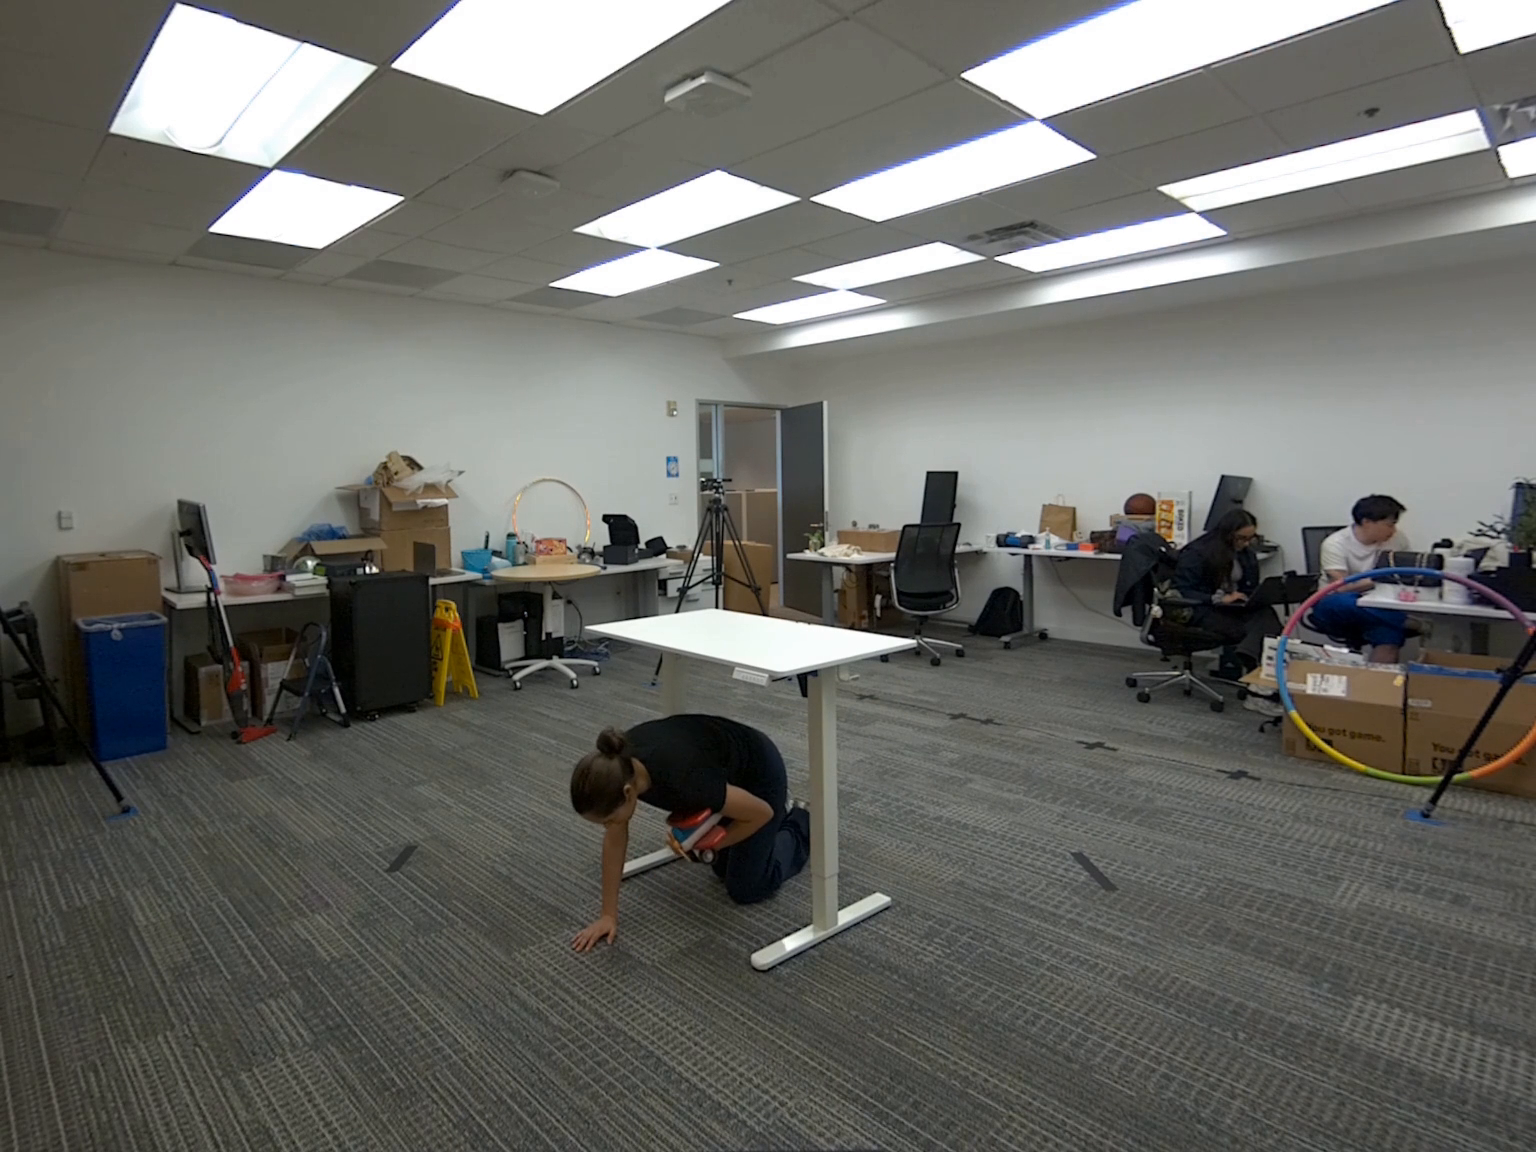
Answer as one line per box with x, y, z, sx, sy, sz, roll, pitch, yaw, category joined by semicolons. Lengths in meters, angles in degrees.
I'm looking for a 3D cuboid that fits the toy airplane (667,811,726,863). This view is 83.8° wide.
-0.202;0.743;2.618;0.252;0.154;0.261;-40;13;33;toy airplane
